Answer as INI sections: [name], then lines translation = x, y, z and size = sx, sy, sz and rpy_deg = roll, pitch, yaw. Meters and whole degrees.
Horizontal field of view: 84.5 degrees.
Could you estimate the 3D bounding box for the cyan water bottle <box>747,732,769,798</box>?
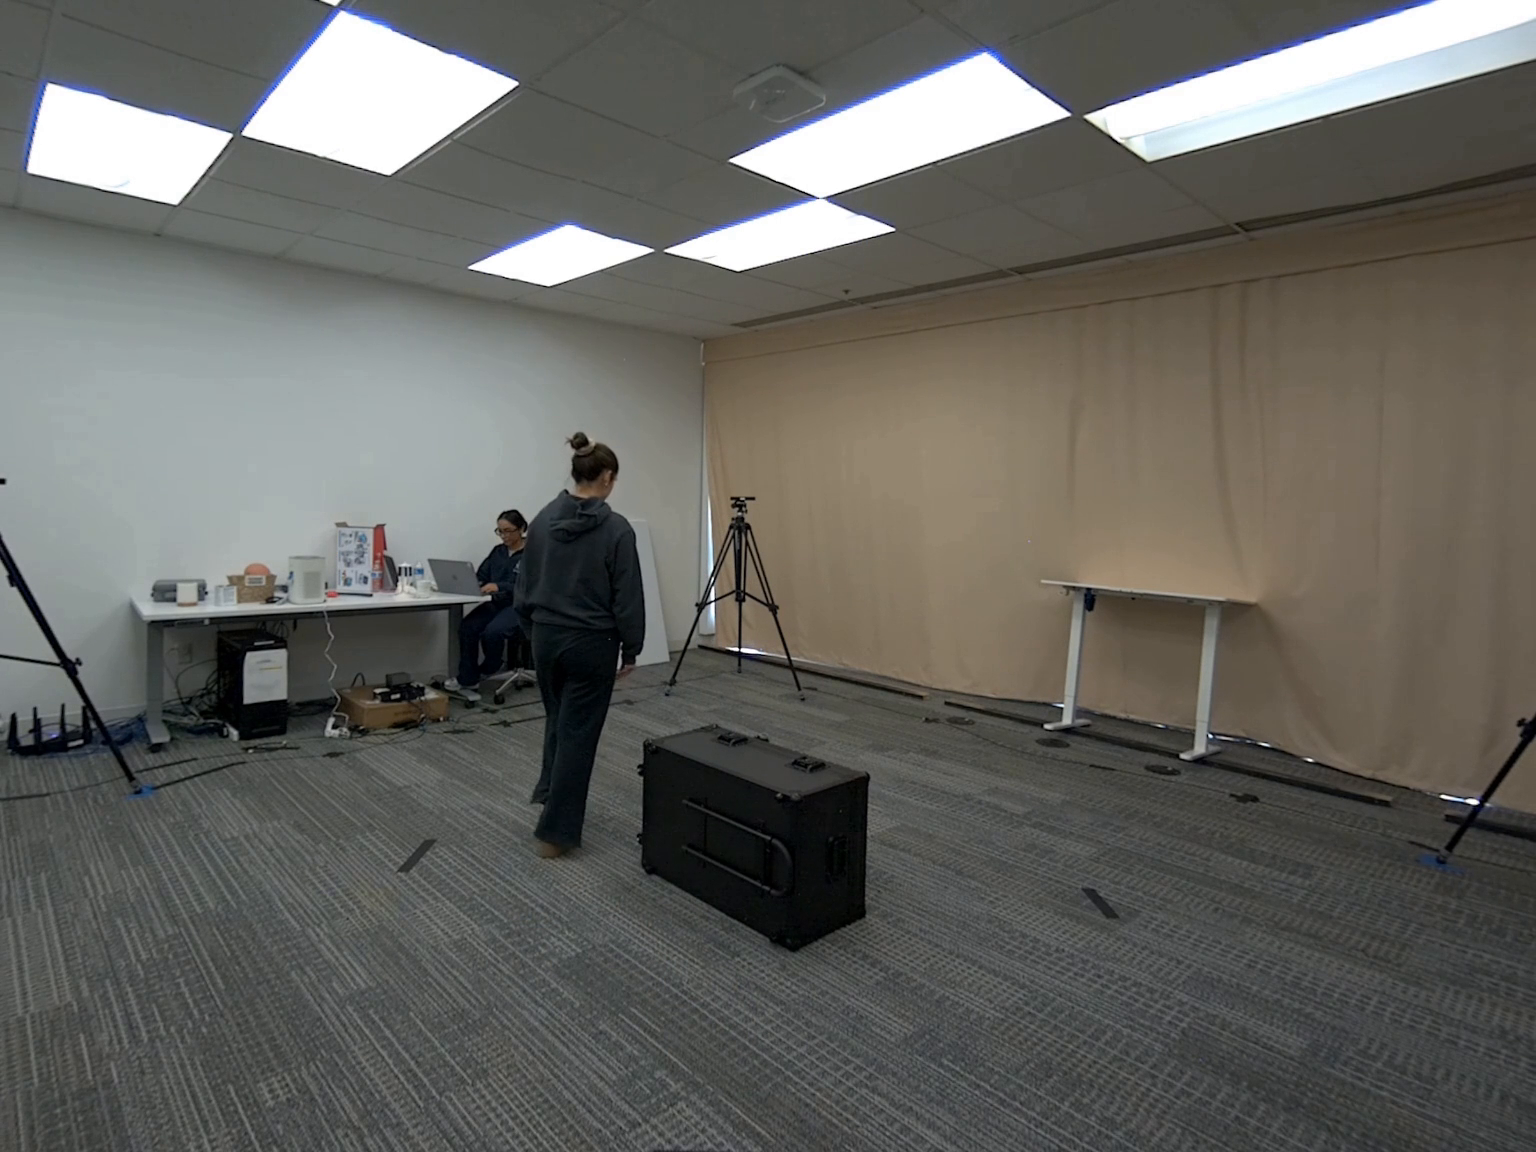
[cyan water bottle]
translation = -0.051, 0.893, 4.018
size = 0.092, 0.283, 0.092
rpy_deg = 2, 2, -1
